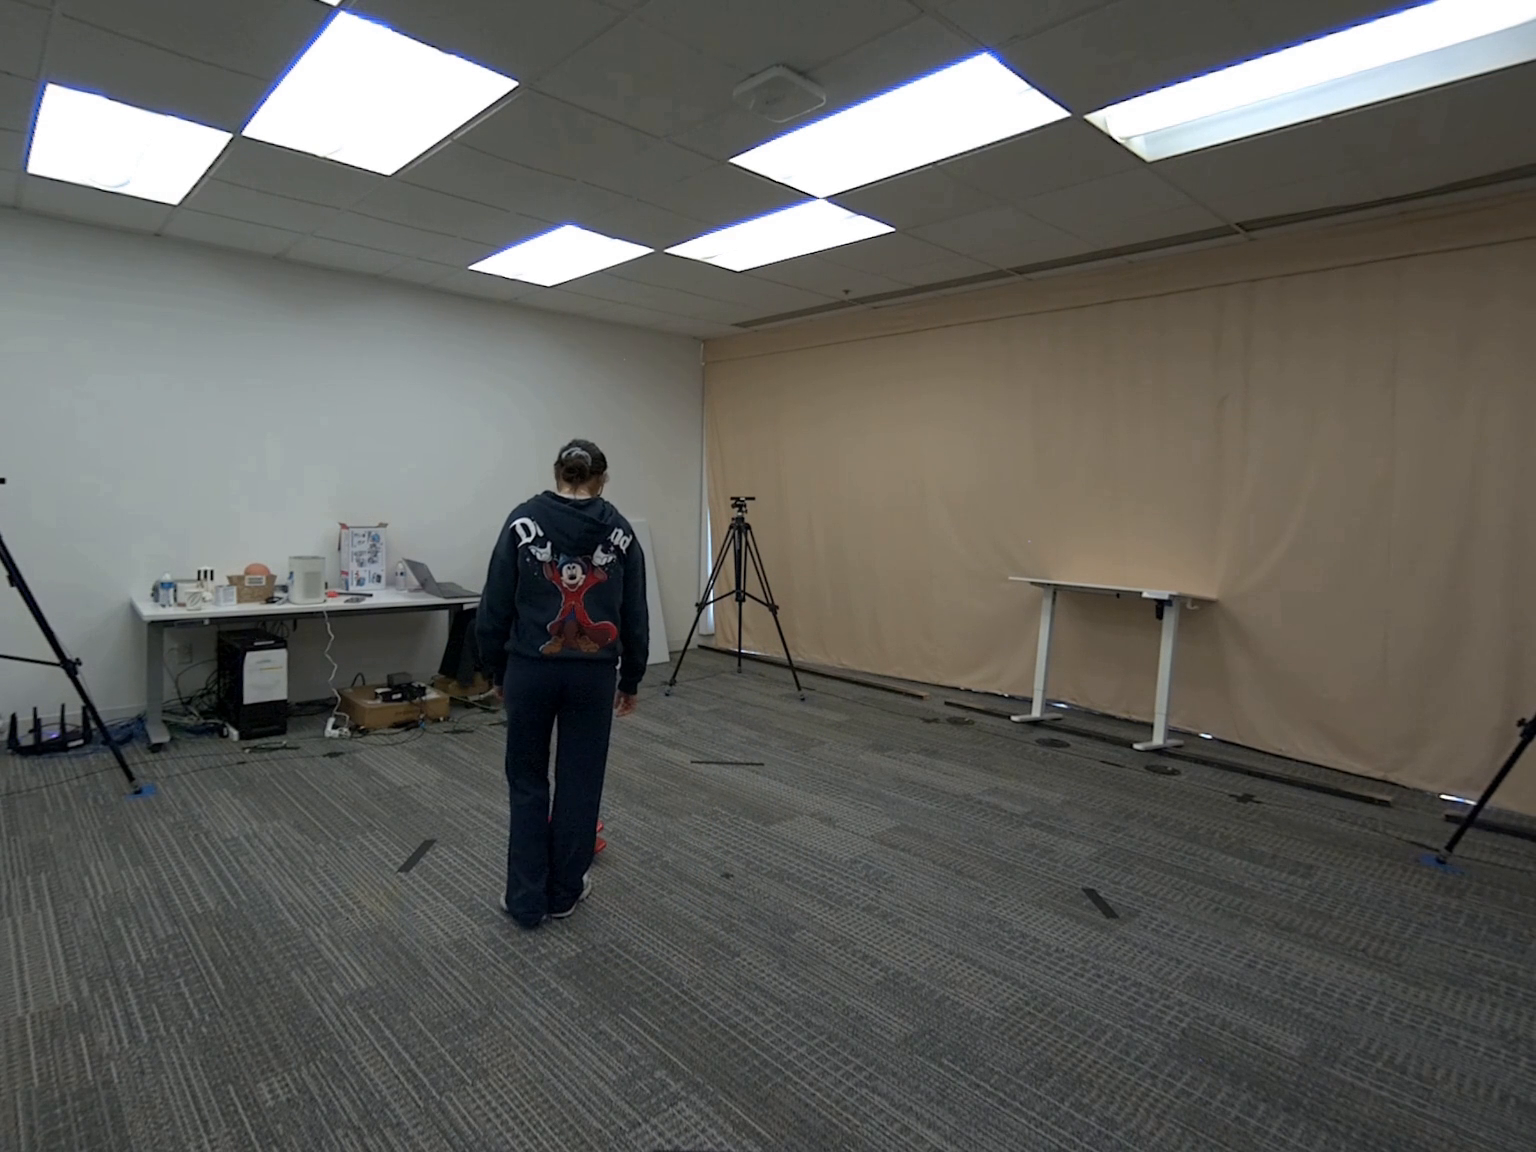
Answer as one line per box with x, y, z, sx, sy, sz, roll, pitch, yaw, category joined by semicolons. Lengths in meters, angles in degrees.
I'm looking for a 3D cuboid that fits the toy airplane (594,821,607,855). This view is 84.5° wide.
-0.739;1.014;3.193;0.251;0.156;0.259;1;4;1;toy airplane
